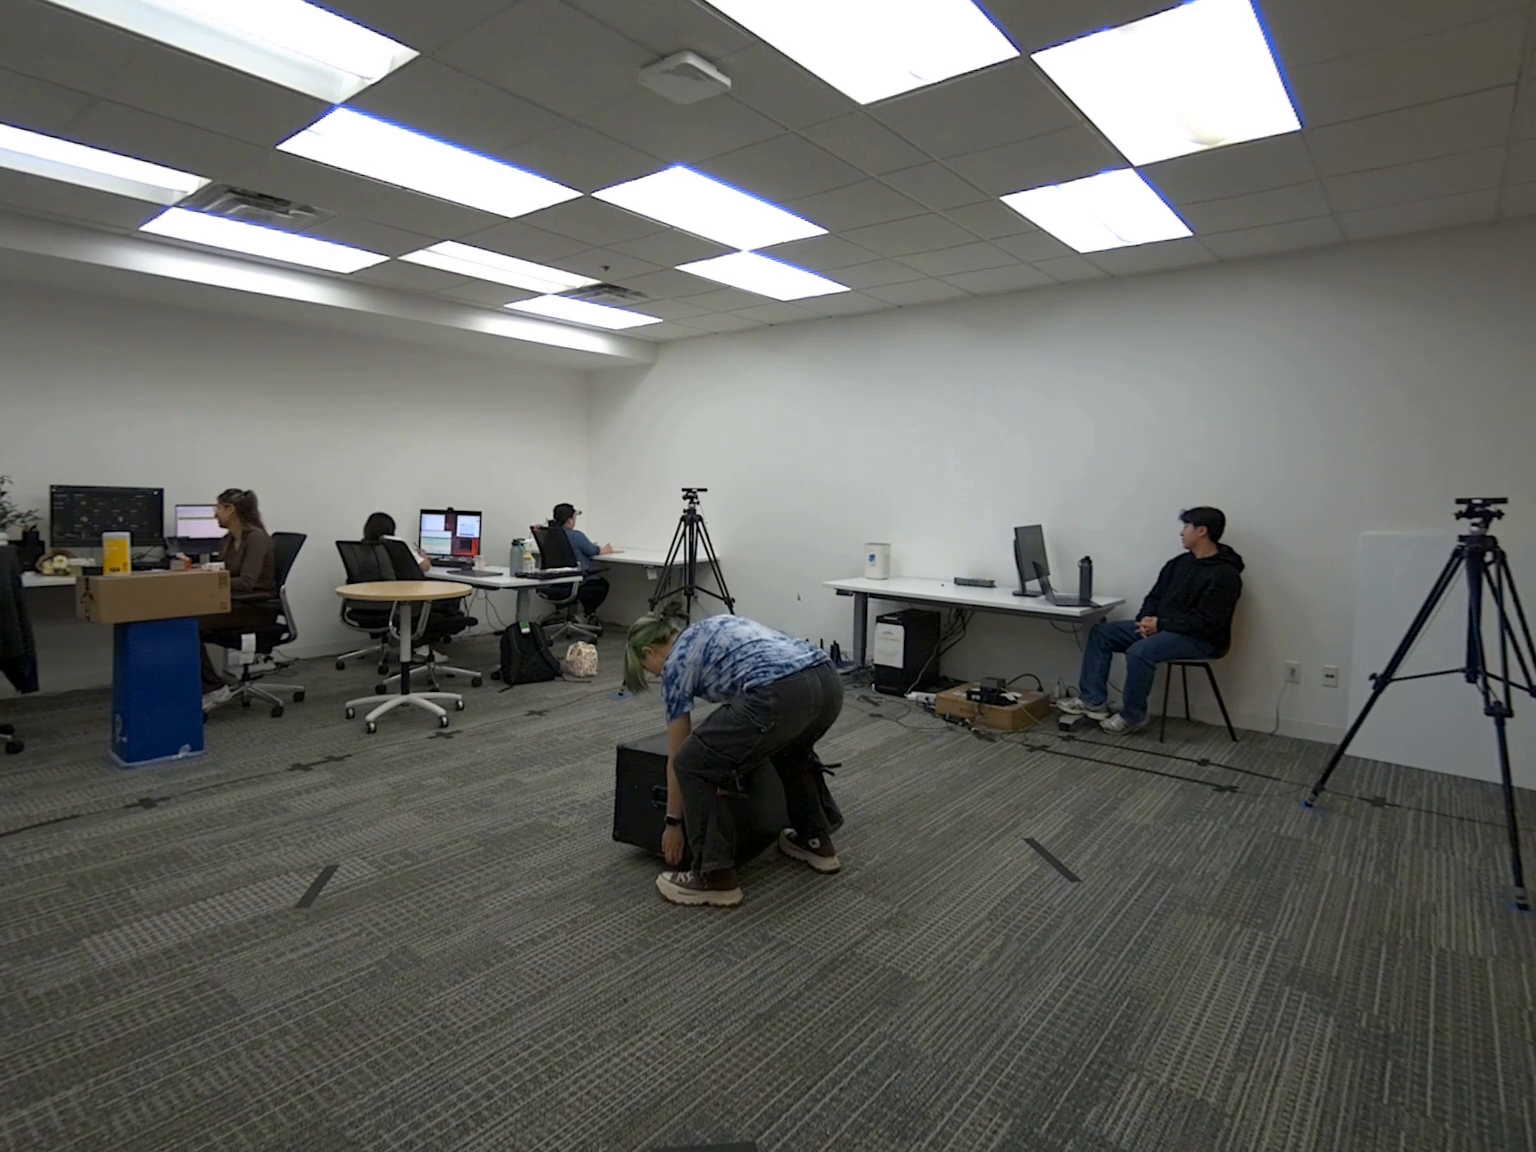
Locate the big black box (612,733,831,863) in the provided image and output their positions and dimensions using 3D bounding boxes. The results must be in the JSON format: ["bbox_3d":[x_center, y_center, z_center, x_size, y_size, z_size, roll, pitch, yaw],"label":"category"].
[{"bbox_3d":[-0.189,0.832,3.442,0.536,0.395,0.840,3,3,27],"label":"big black box"}]
